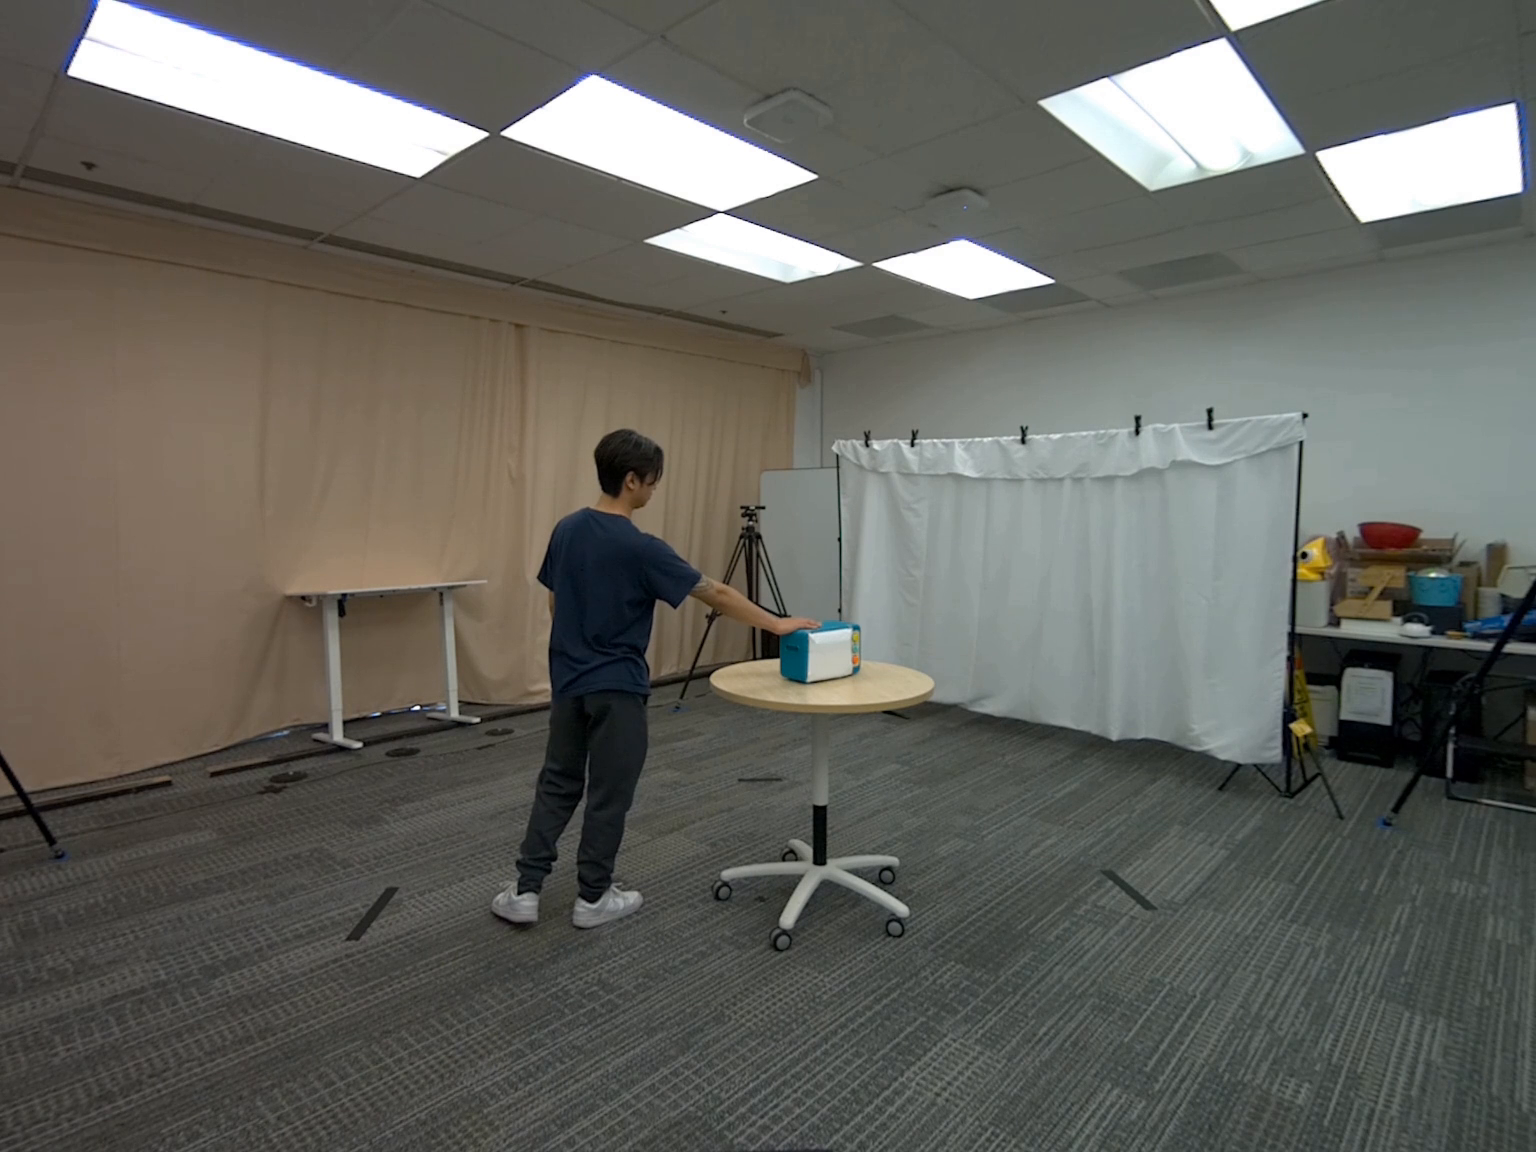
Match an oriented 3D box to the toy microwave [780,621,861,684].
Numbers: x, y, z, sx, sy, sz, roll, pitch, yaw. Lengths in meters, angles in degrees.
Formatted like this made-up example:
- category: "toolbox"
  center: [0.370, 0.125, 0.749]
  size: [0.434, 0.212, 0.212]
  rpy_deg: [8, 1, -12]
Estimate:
- category: "toy microwave"
  center: [0.197, 0.263, 2.919]
  size: [0.278, 0.183, 0.157]
  rpy_deg: [-4, 6, -38]
